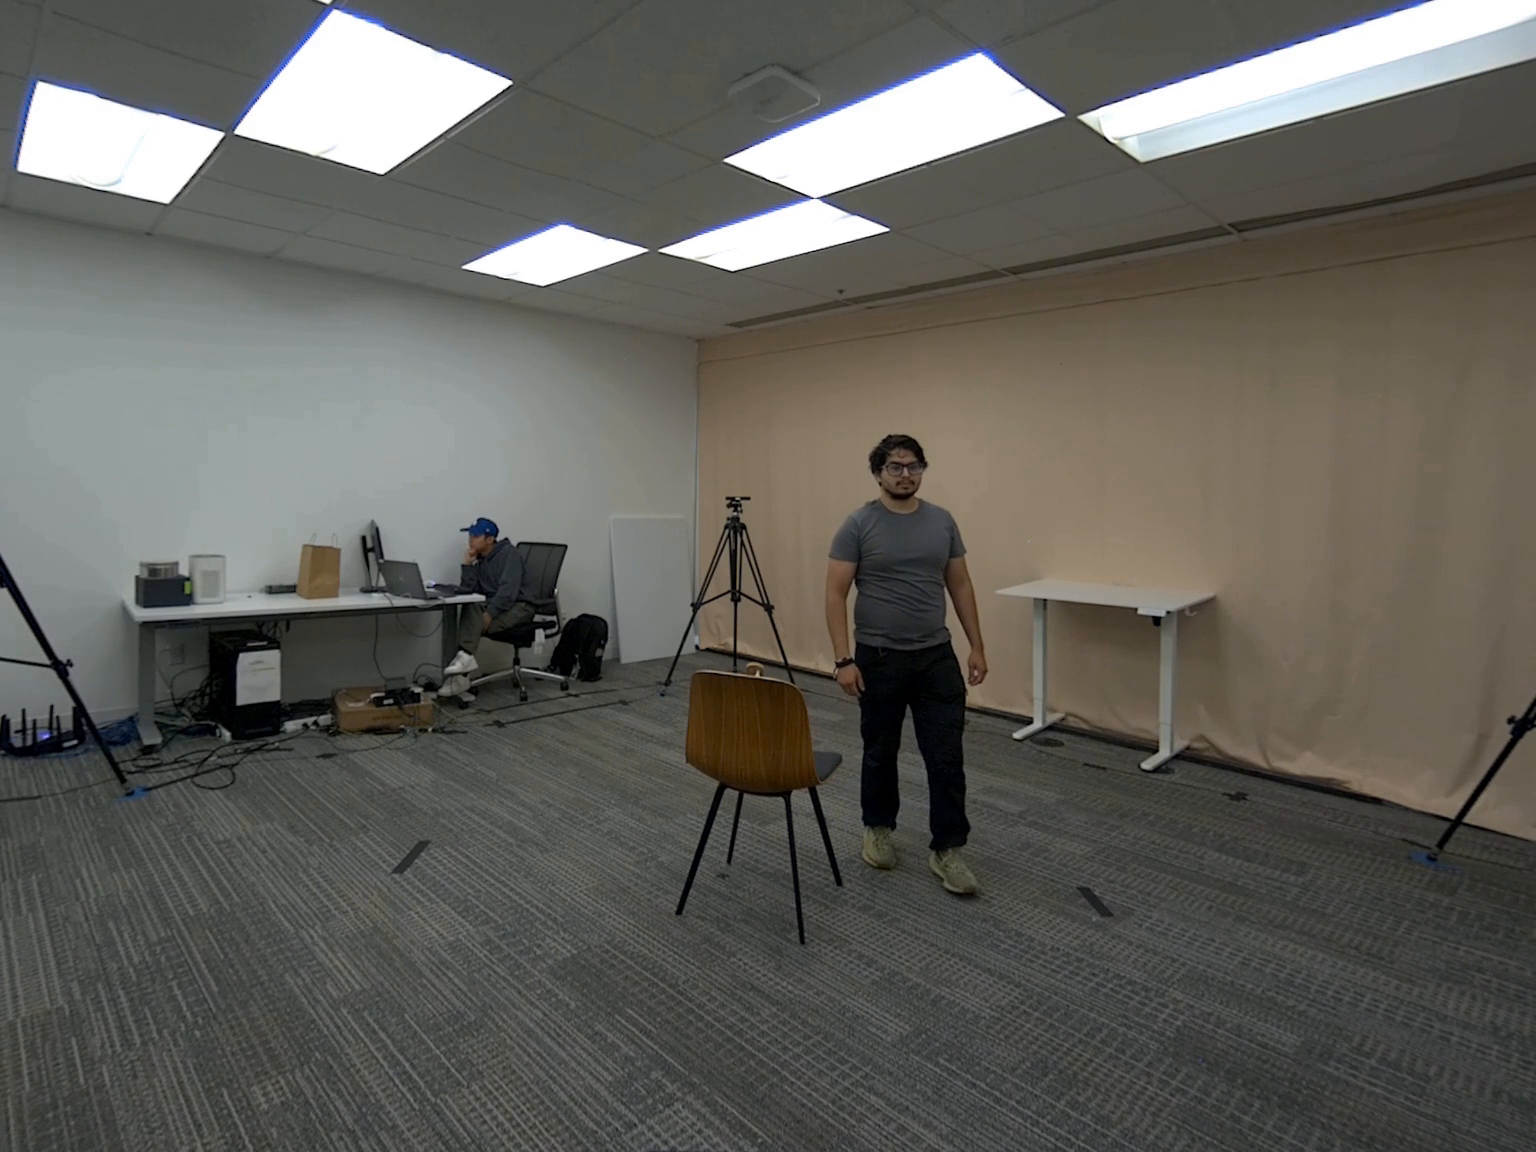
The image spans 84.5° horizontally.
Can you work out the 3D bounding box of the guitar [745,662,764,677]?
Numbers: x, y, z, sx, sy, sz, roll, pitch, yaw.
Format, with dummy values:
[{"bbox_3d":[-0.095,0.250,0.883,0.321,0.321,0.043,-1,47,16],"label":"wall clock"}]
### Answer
[{"bbox_3d":[-0.075,0.459,2.782,0.195,0.484,0.072,0,46,15],"label":"guitar"}]
